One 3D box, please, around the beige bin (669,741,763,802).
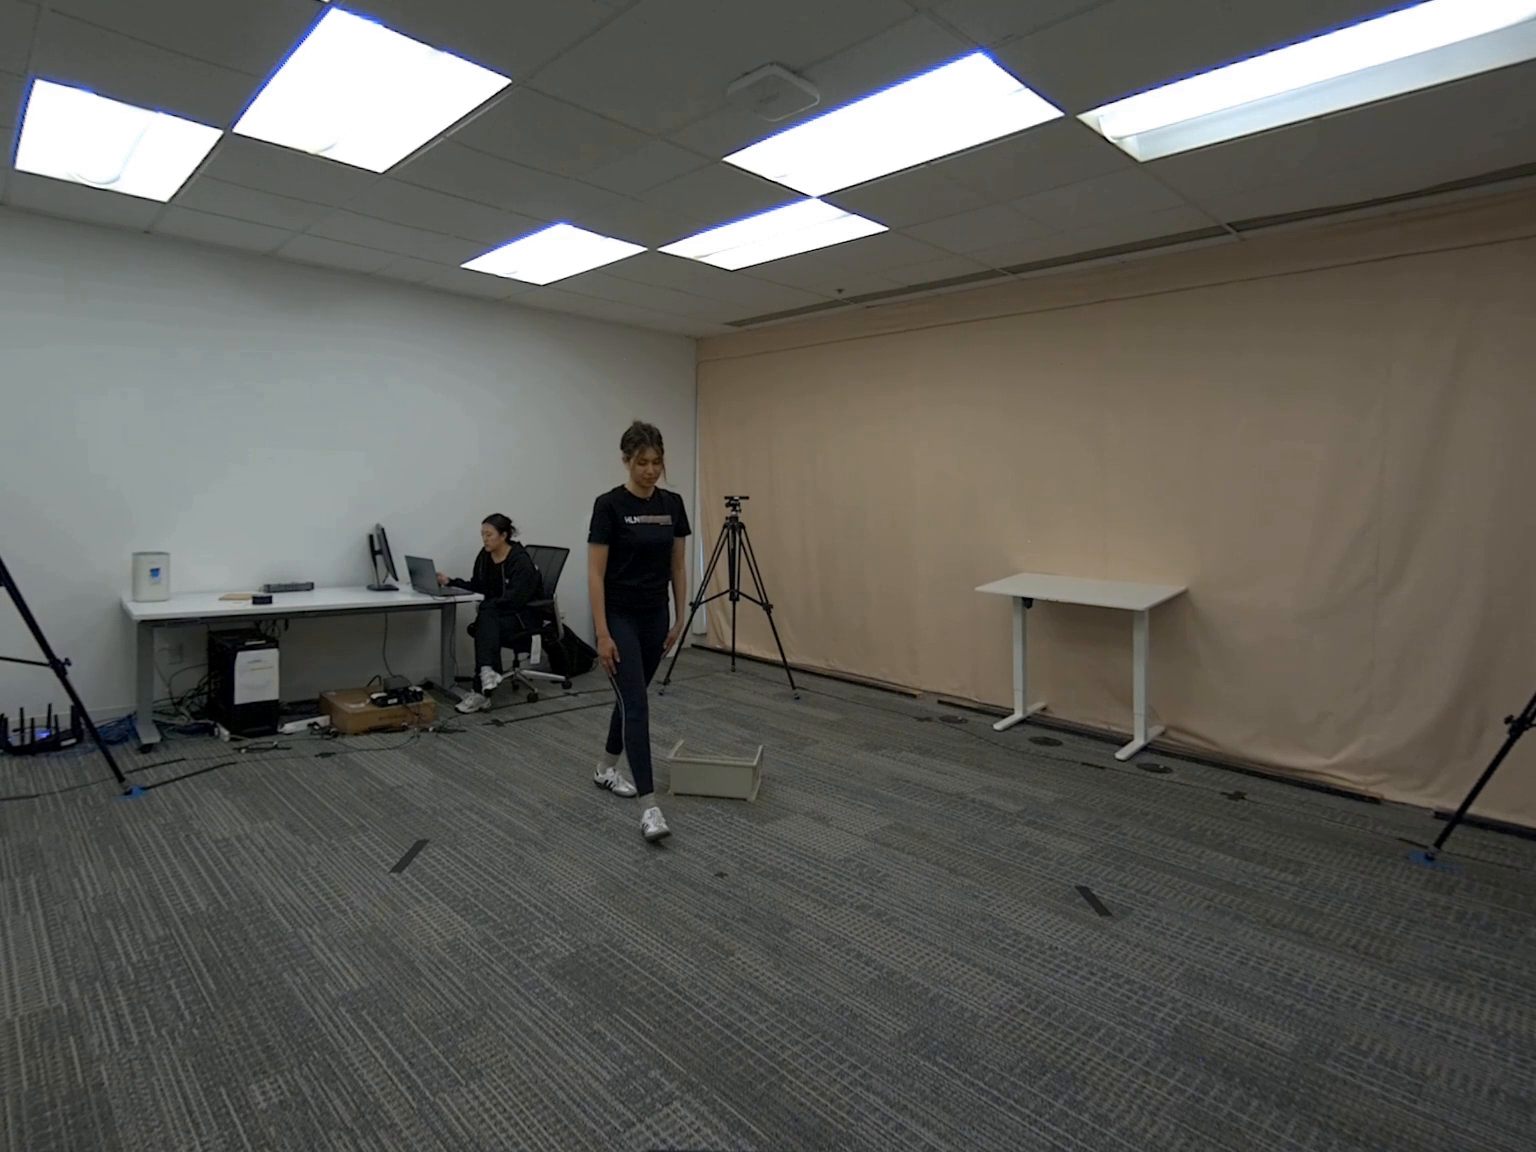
[{"bbox_3d":[-0.259,0.930,4.087,0.425,0.188,0.376,2,6,7],"label":"beige bin"}]
